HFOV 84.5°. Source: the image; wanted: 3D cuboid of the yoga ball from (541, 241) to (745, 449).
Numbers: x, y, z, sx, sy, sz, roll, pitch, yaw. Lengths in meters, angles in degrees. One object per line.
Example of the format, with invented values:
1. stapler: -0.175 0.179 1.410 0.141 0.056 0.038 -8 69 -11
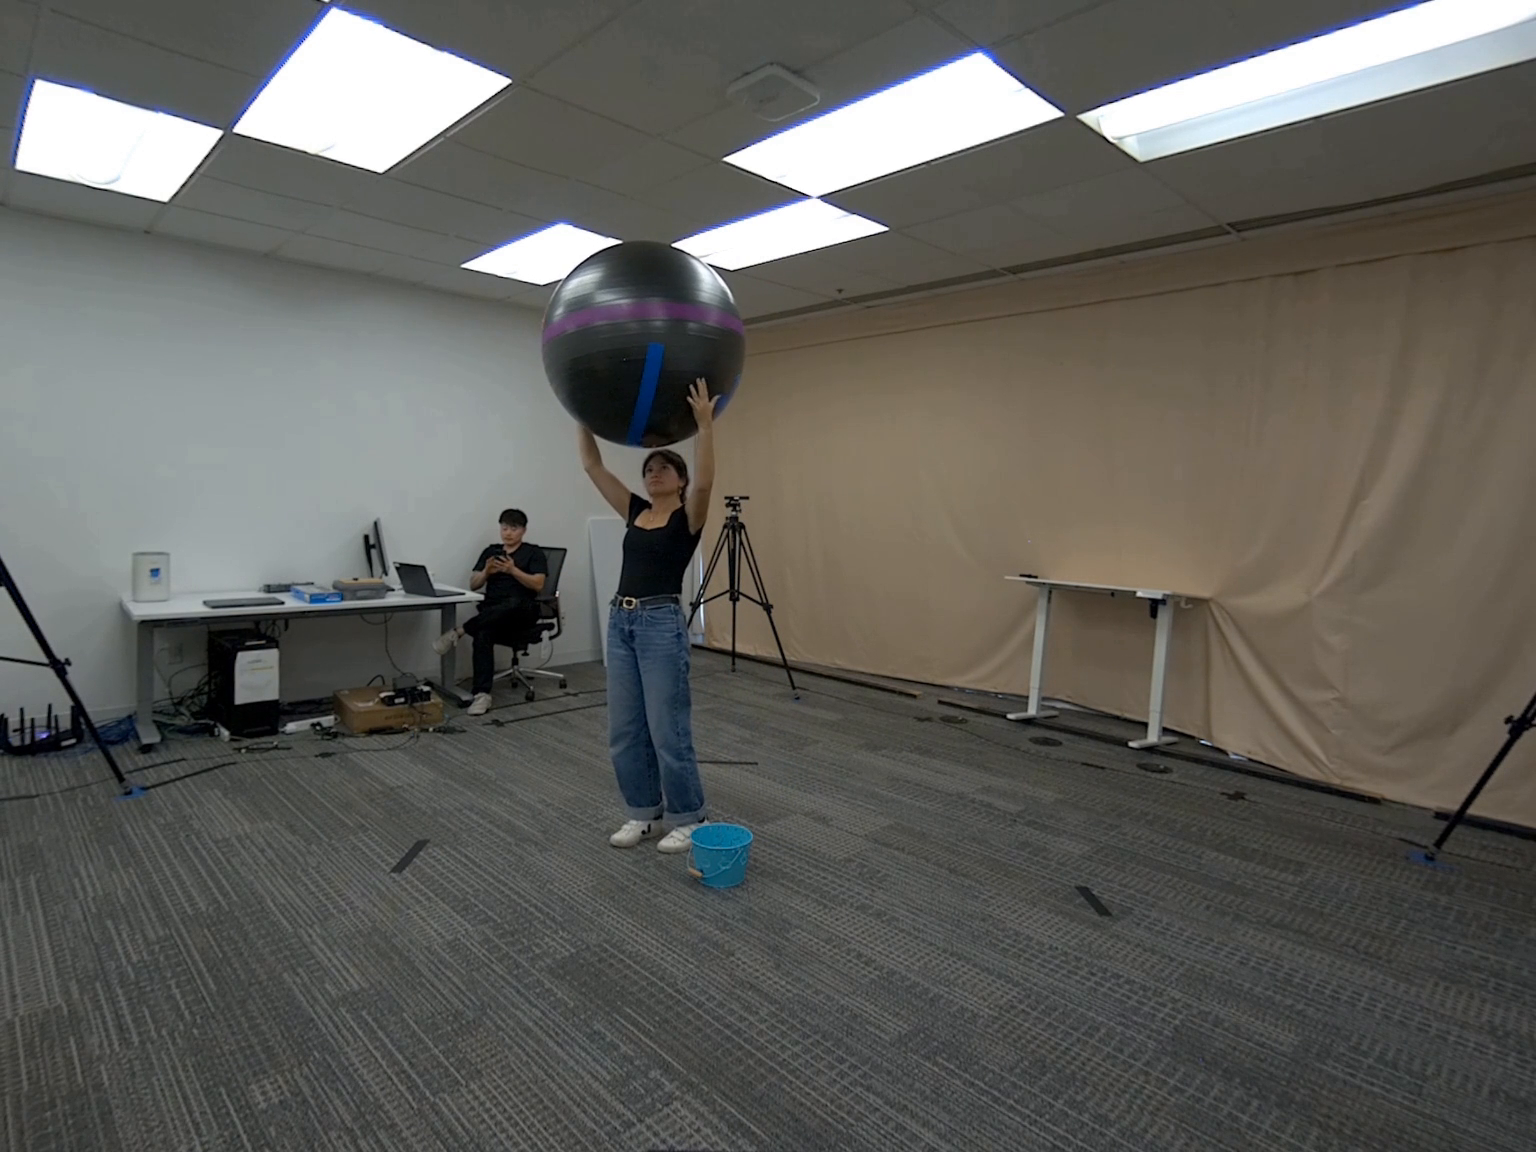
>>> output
1. yoga ball: -0.475 -0.863 3.175 0.757 0.756 0.761 1 4 -1
